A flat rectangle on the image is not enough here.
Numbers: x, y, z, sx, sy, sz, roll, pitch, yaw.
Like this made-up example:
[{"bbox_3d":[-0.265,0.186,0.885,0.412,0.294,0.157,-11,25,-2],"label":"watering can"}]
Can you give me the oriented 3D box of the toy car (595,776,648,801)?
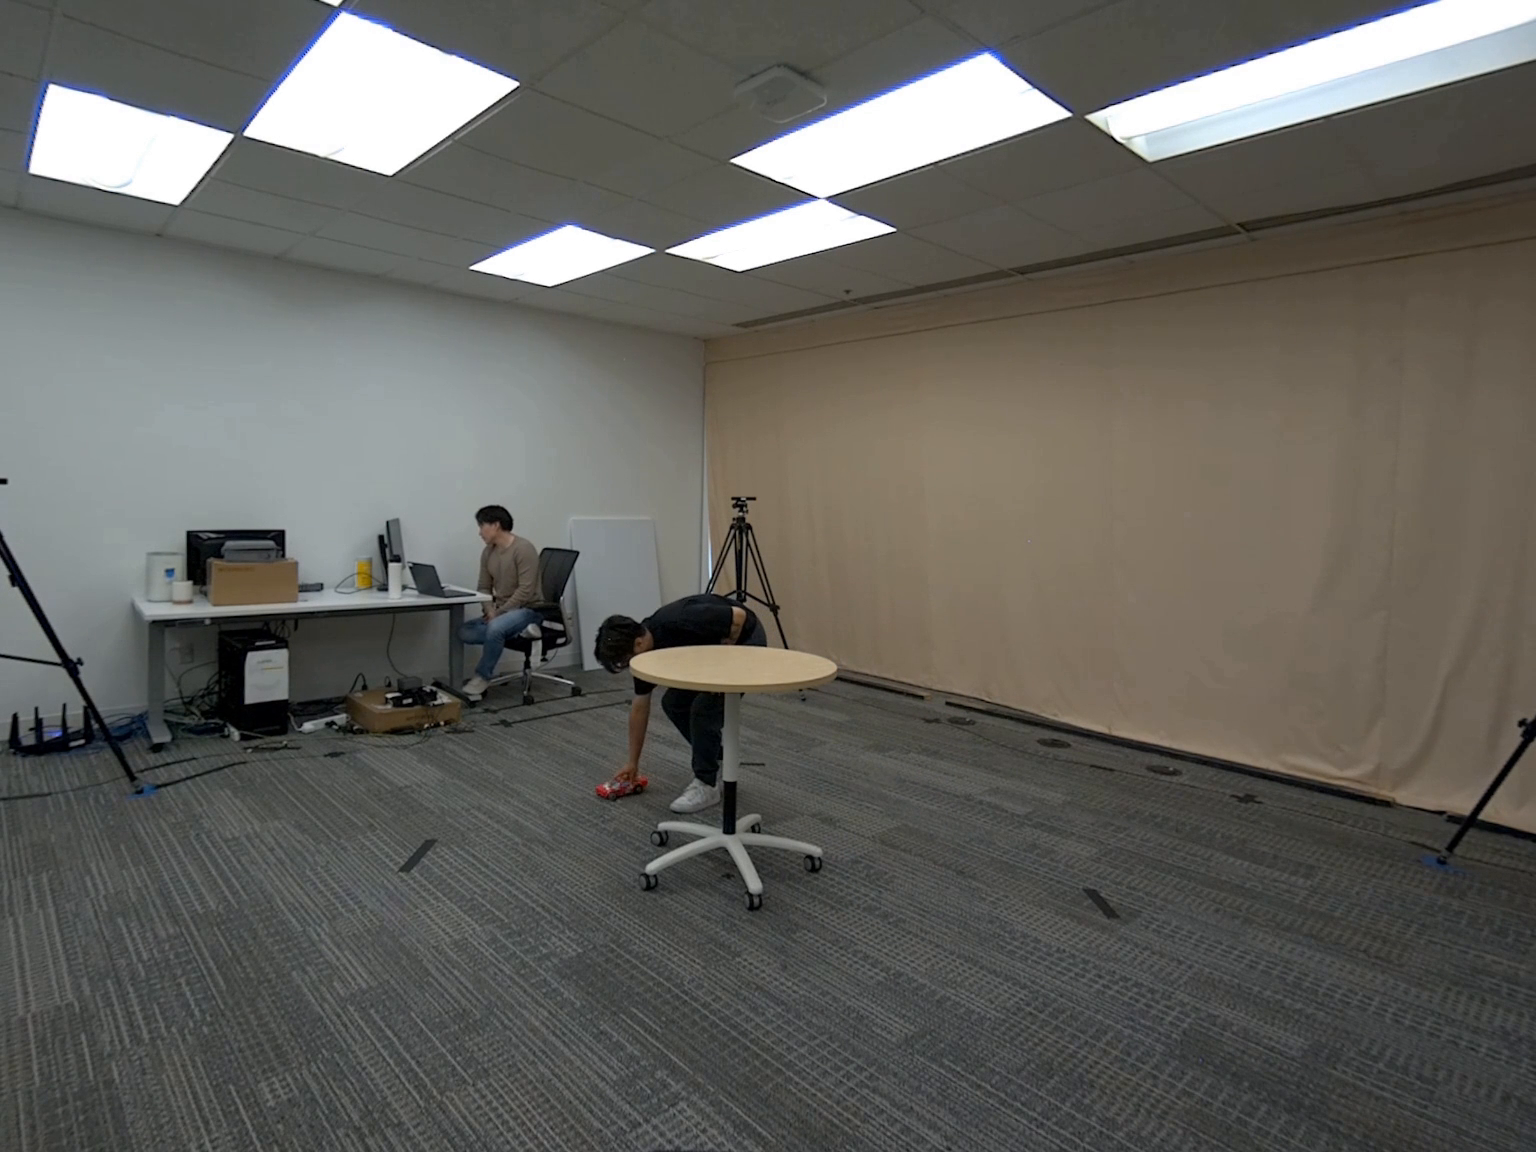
[{"bbox_3d":[-0.688,0.986,3.954,0.250,0.082,0.133,-17,14,-40],"label":"toy car"}]
